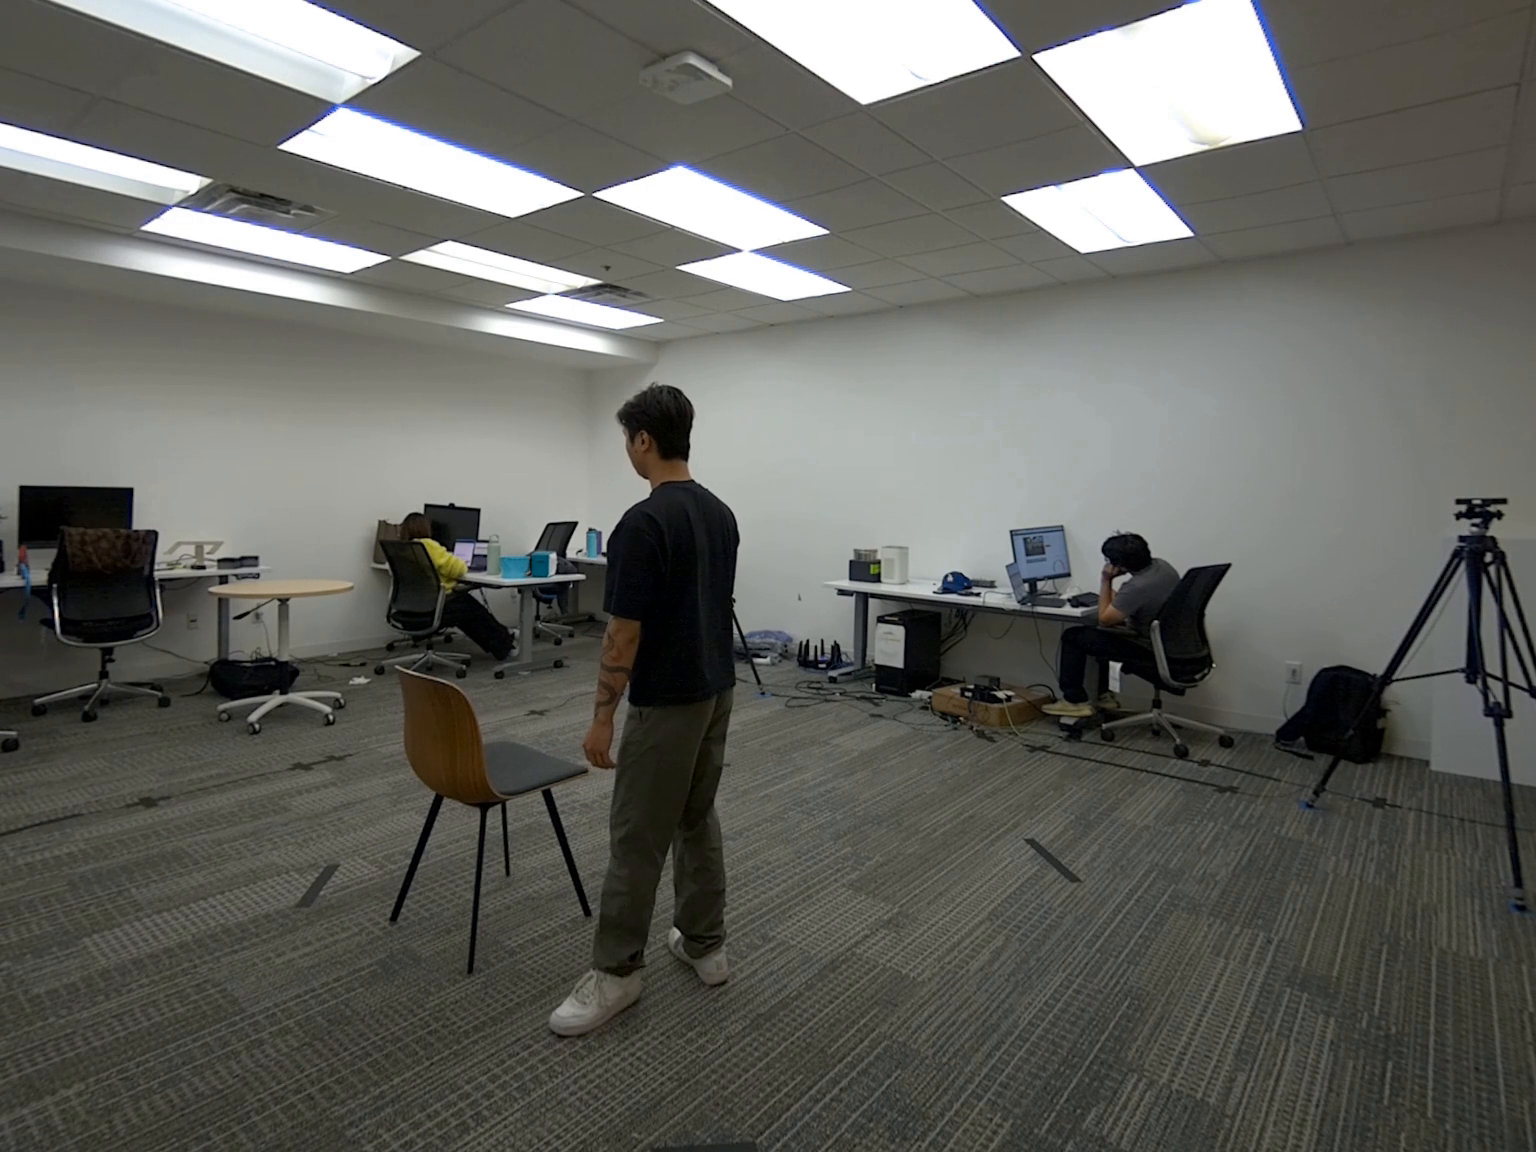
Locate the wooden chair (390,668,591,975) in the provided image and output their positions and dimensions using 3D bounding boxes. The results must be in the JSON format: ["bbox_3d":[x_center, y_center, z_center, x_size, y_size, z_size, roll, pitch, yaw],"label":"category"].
[{"bbox_3d":[-0.886,0.672,2.706,0.494,0.872,0.509,3,8,39],"label":"wooden chair"}]
